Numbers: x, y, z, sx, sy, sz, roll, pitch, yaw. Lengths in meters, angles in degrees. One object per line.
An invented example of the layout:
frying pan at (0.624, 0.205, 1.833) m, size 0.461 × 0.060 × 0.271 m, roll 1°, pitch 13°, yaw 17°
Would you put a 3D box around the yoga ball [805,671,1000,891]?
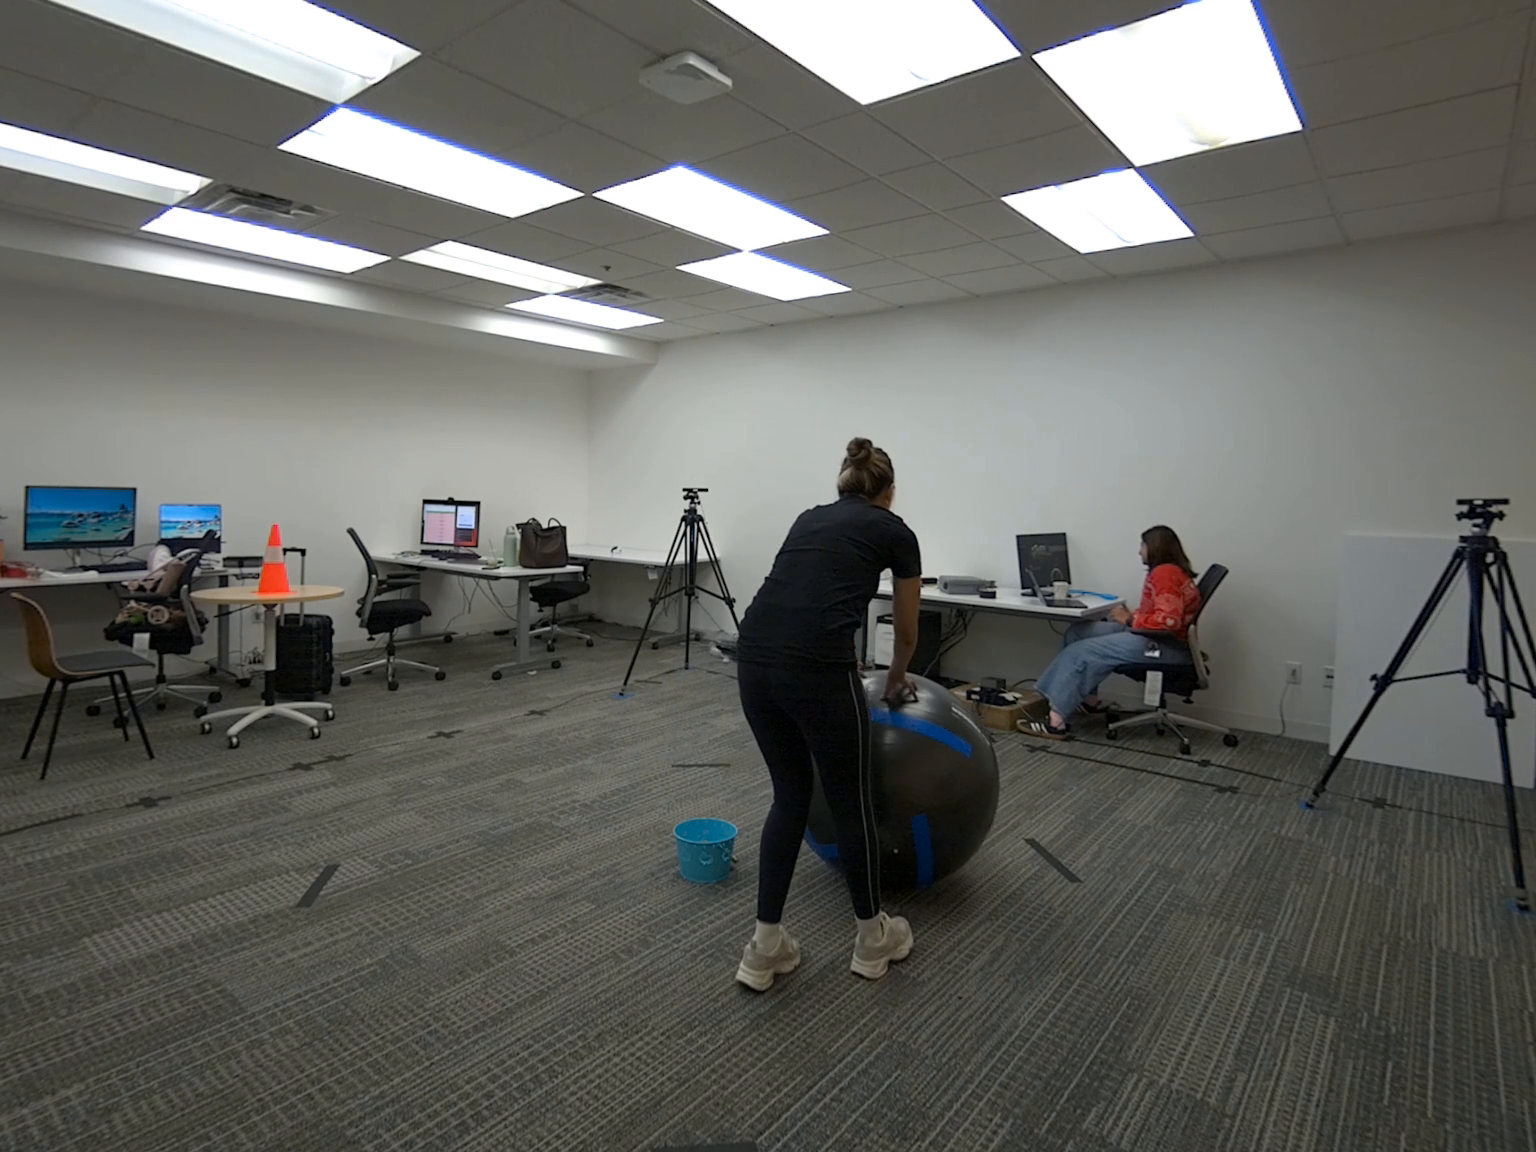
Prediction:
yoga ball at (0.435, 0.723, 3.077) m, size 0.757 × 0.755 × 0.762 m, roll 1°, pitch 4°, yaw -2°
